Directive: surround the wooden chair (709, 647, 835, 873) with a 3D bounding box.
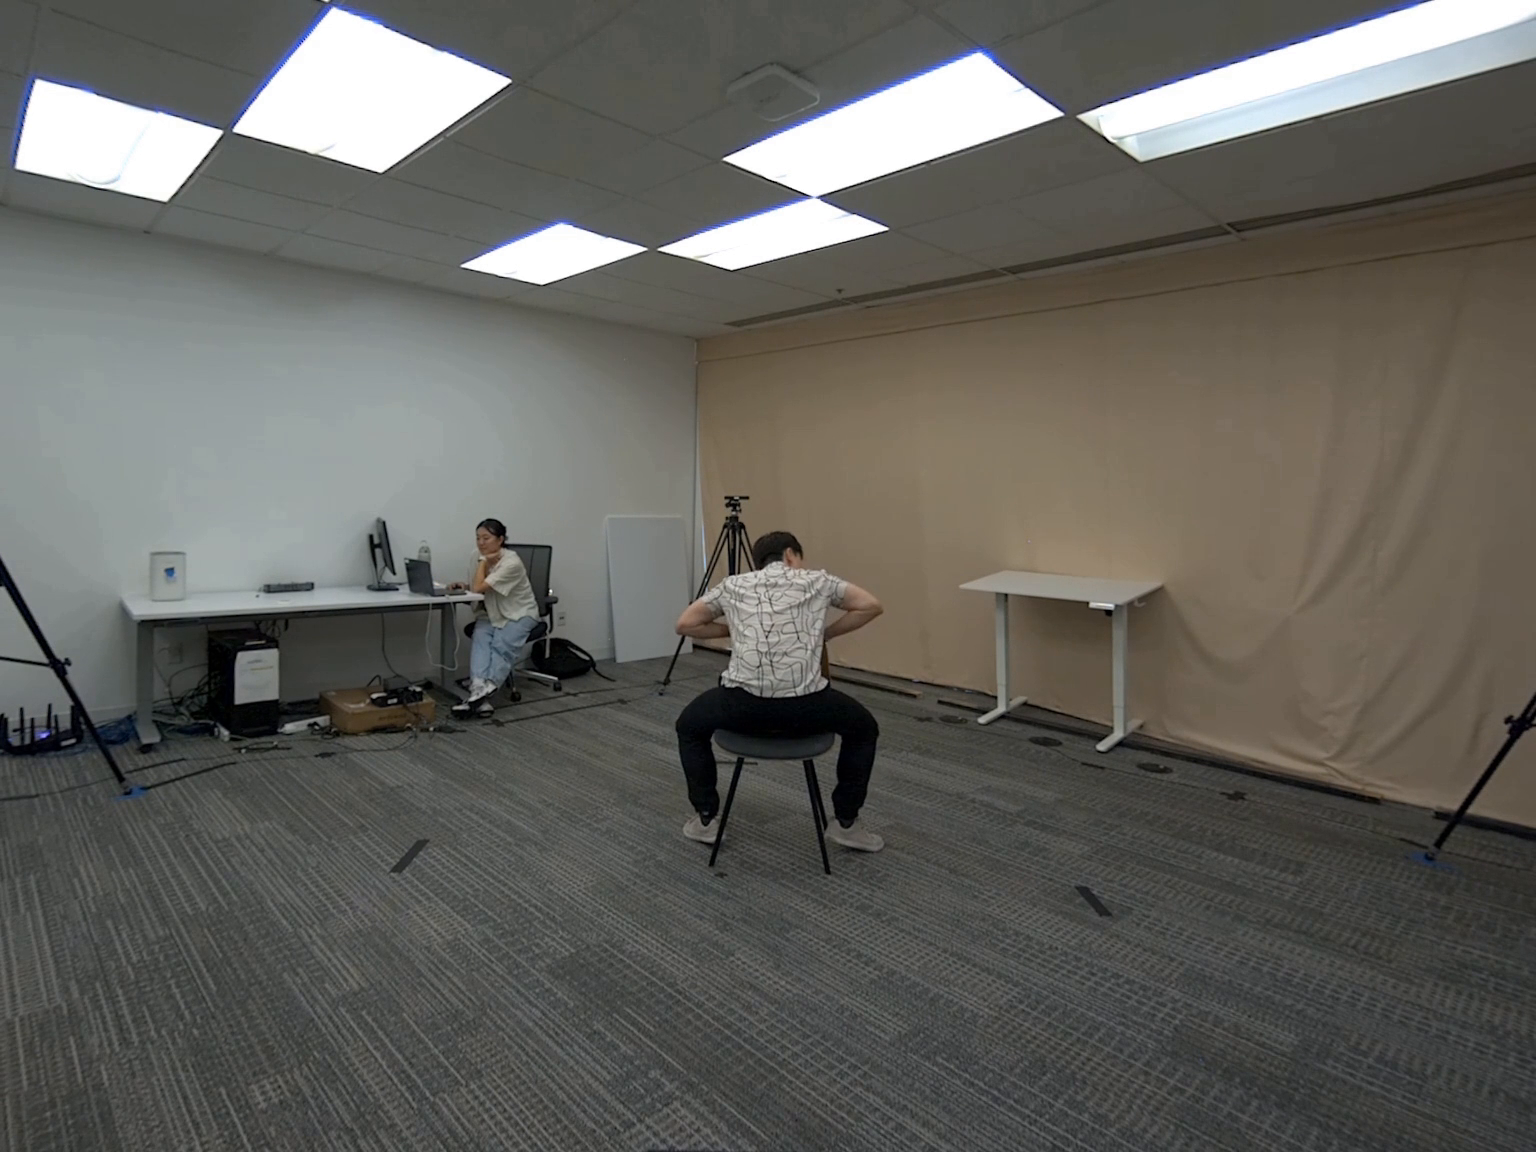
[{"bbox_3d":[0.027,0.672,3.337,0.480,0.879,0.520,1,-3,4],"label":"wooden chair"}]
